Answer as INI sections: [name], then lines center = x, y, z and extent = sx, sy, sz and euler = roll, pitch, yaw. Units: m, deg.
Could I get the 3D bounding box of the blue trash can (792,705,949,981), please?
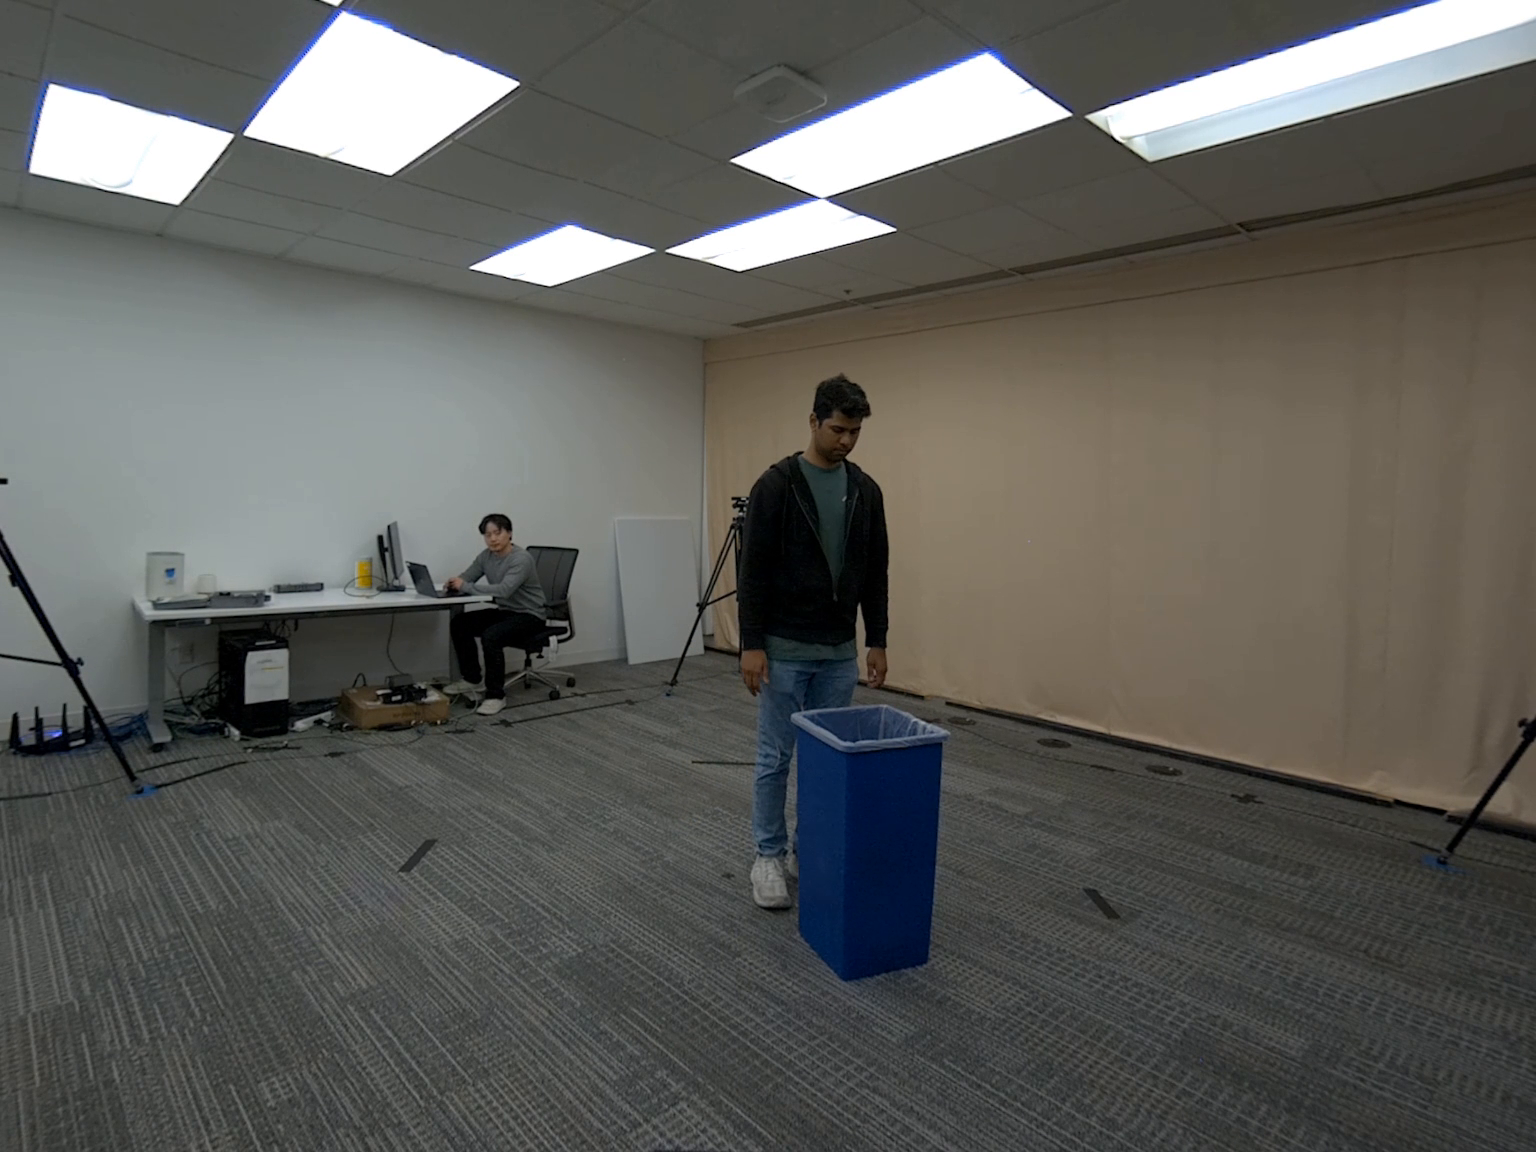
[blue trash can]
center = 0.294, 0.806, 2.601
extent = 0.367, 0.712, 0.385
euler = 0, 4, -24
